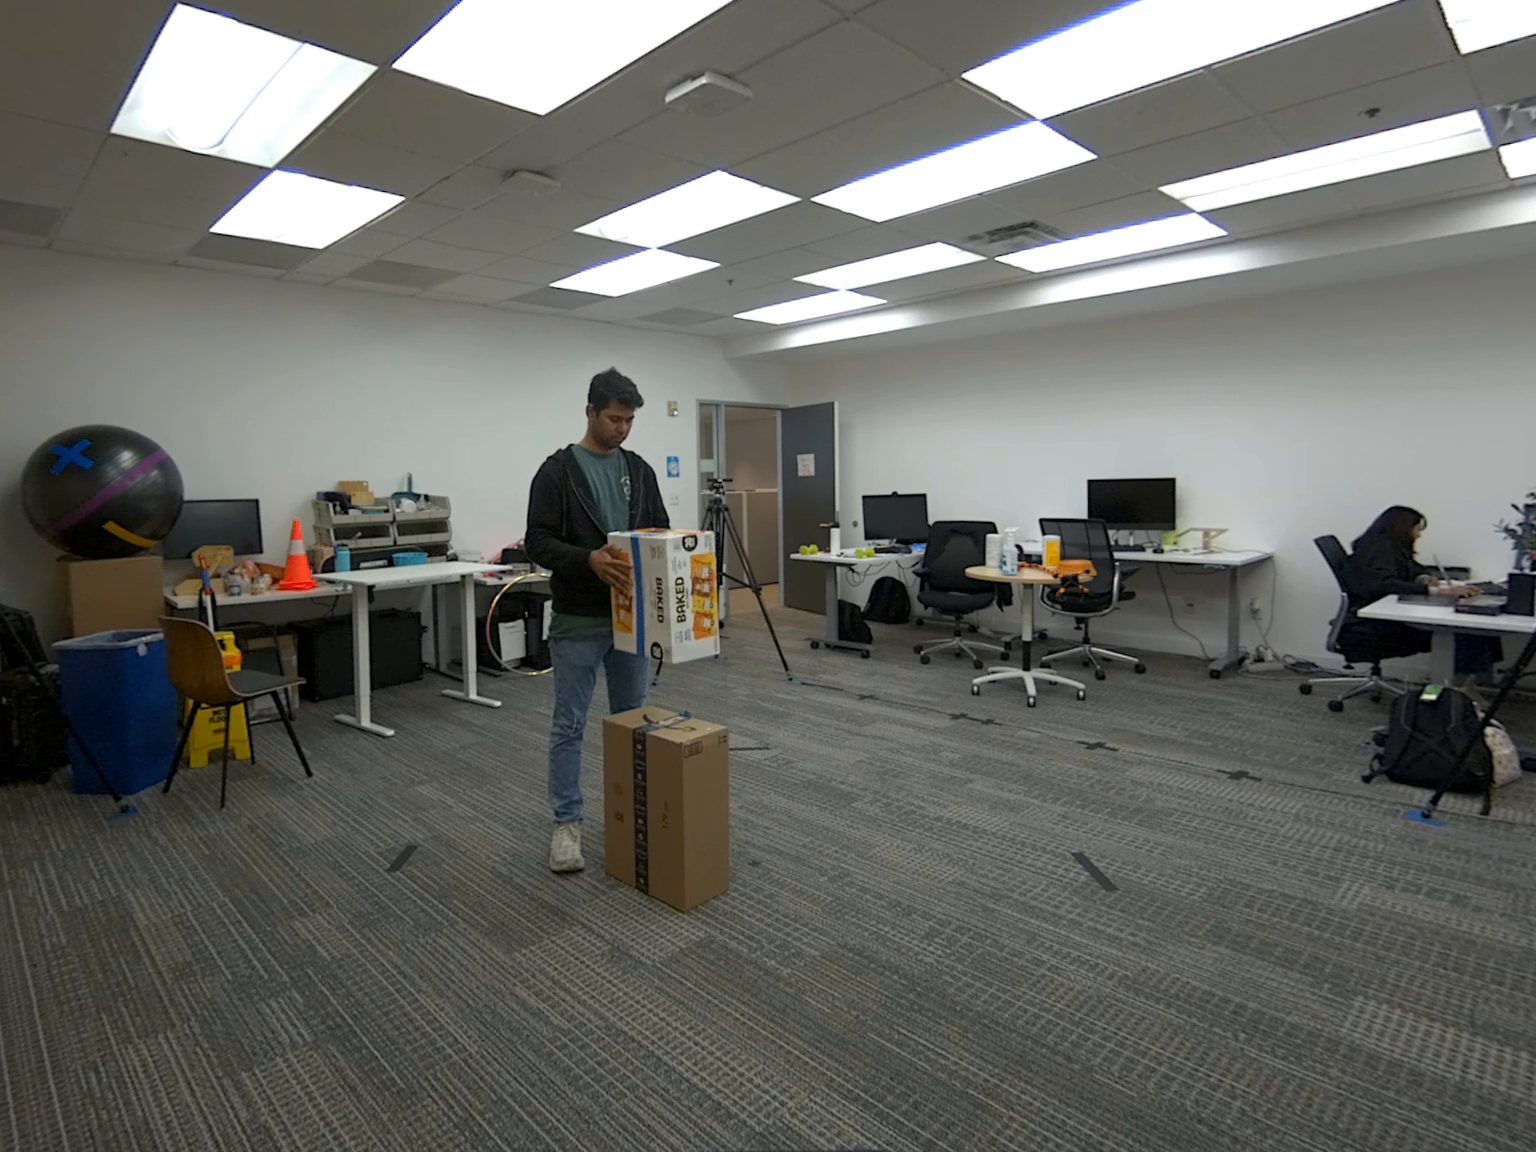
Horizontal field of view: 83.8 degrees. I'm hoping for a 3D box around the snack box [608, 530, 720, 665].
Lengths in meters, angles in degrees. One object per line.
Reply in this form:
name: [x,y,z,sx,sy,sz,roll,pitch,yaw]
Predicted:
snack box: [-0.353,0.052,2.886,0.200,0.403,0.351,-7,8,-41]
